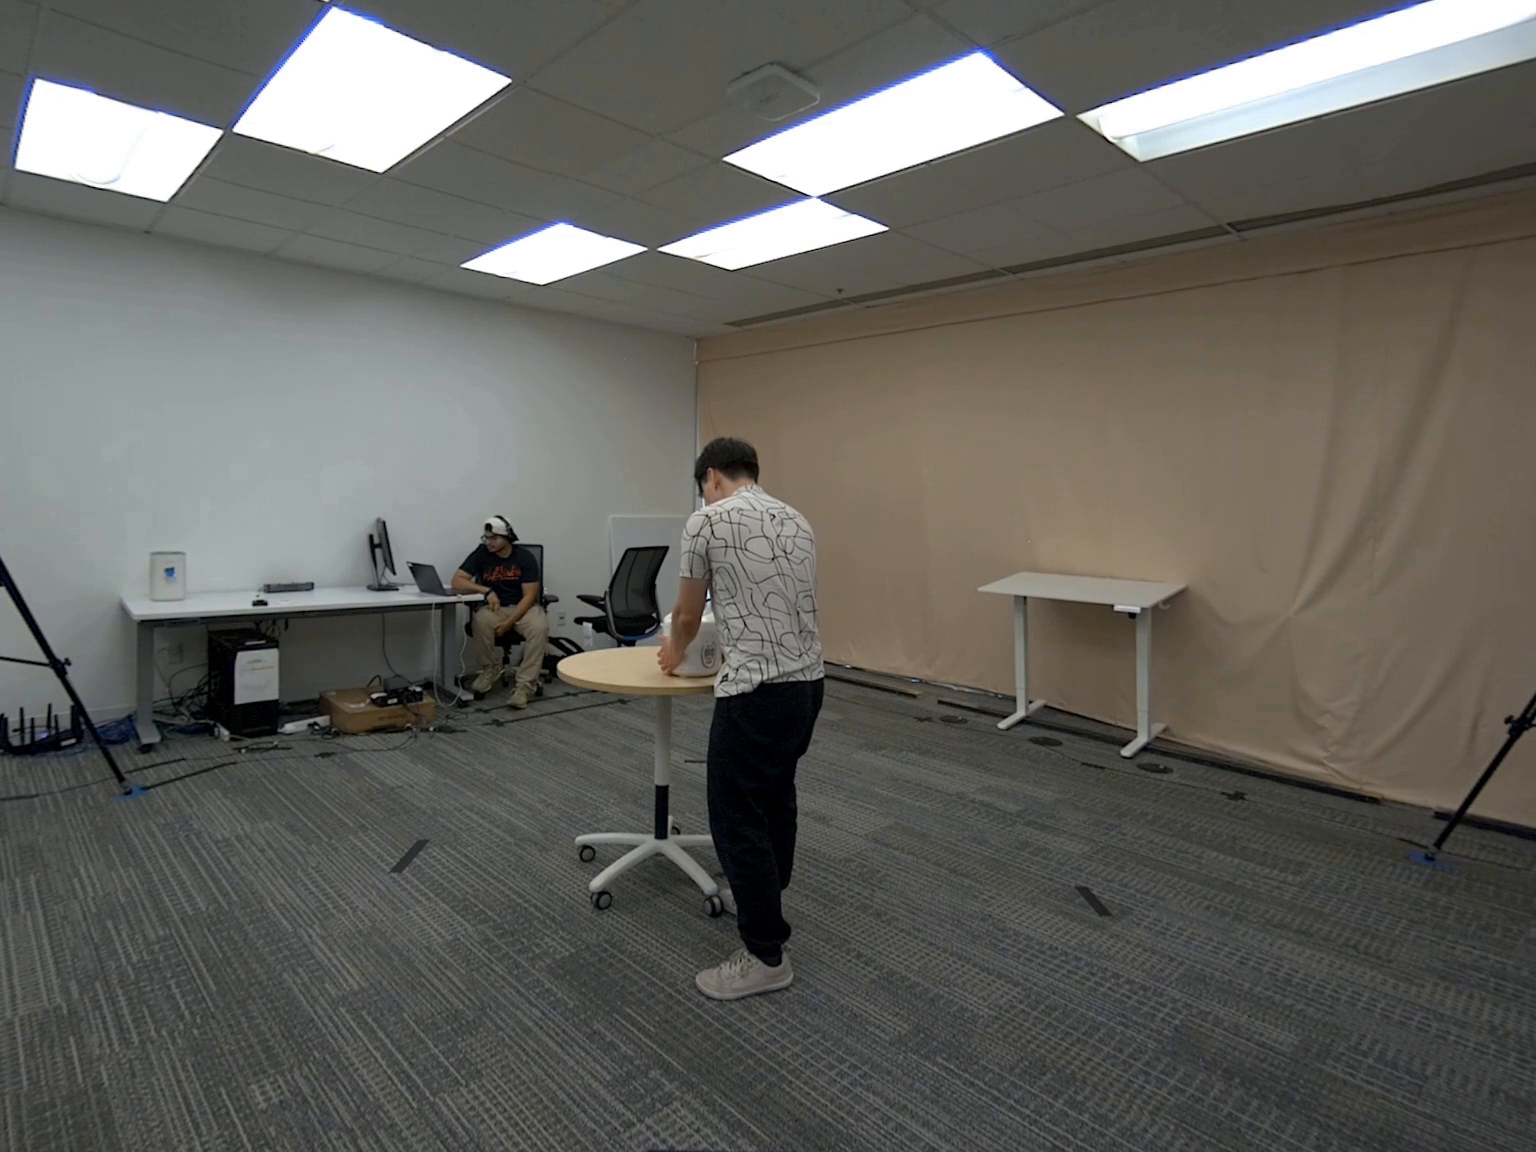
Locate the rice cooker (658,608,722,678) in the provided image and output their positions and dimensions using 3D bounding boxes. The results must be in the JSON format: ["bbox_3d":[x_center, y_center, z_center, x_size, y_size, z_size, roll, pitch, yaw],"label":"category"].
[{"bbox_3d":[-0.264,0.223,2.911,0.216,0.232,0.223,-2,5,-35],"label":"rice cooker"}]
